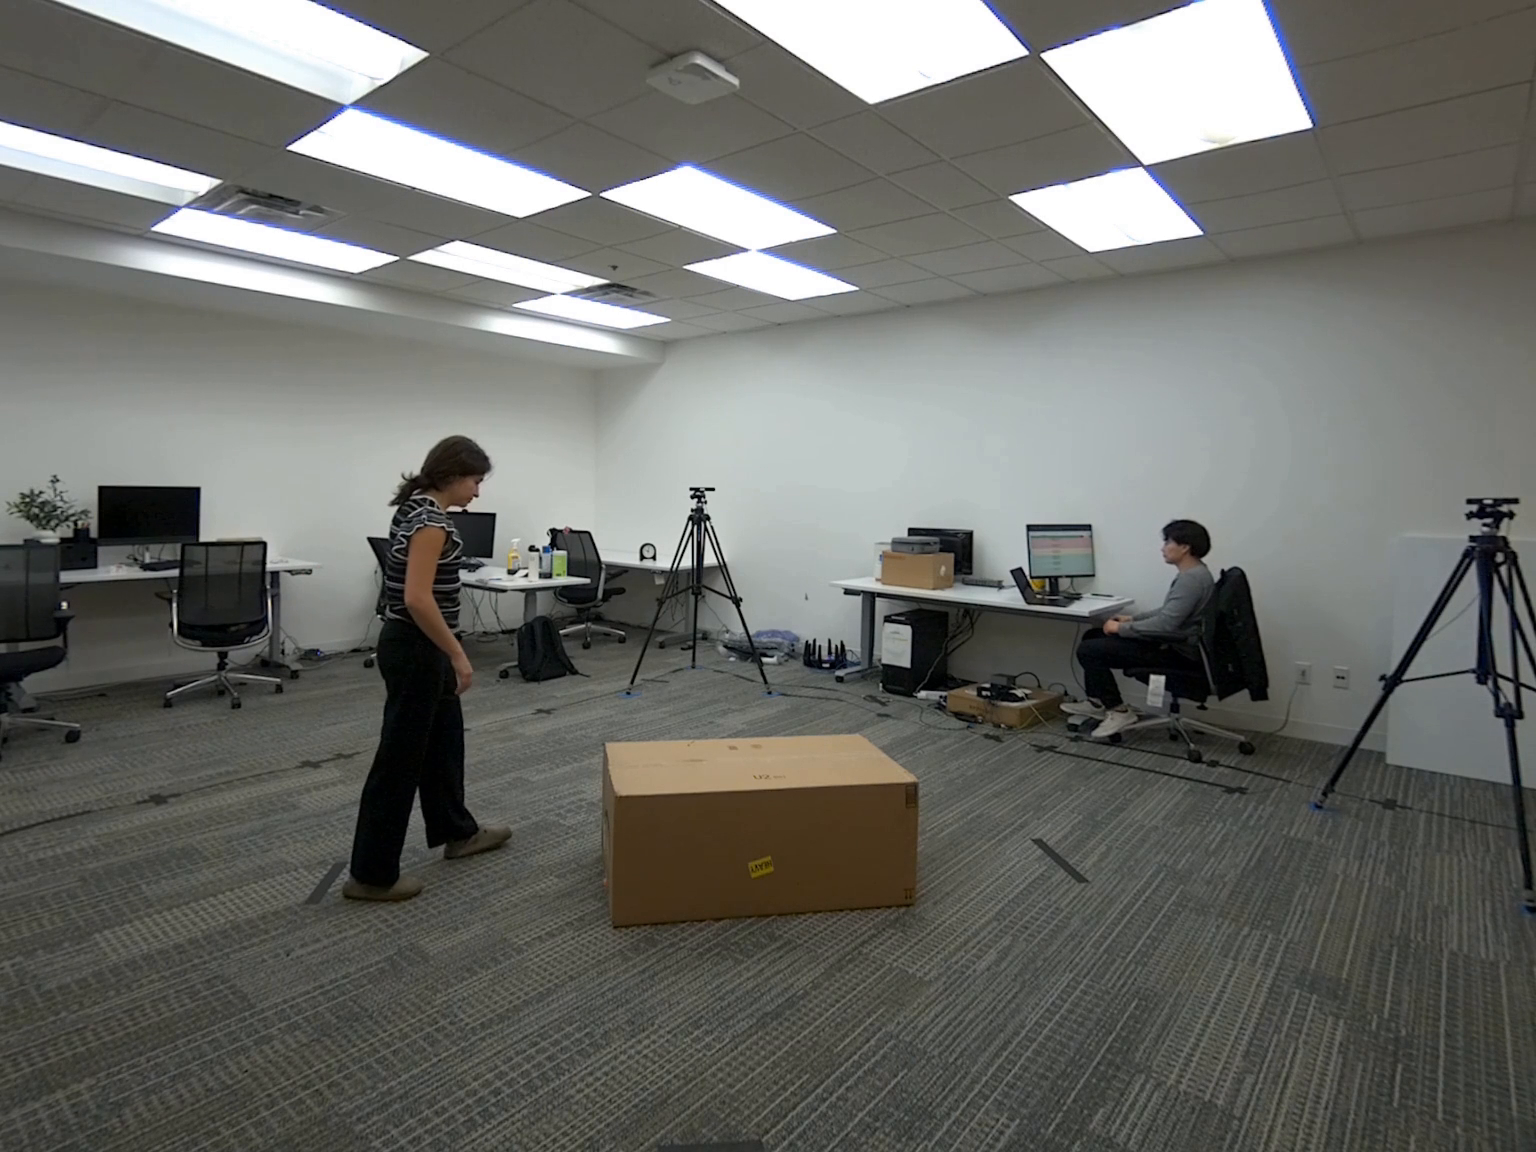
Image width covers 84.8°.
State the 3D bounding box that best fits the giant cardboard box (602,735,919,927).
[{"bbox_3d":[-0.069,0.866,3.033,1.013,0.425,0.587,0,4,-12],"label":"giant cardboard box"}]
